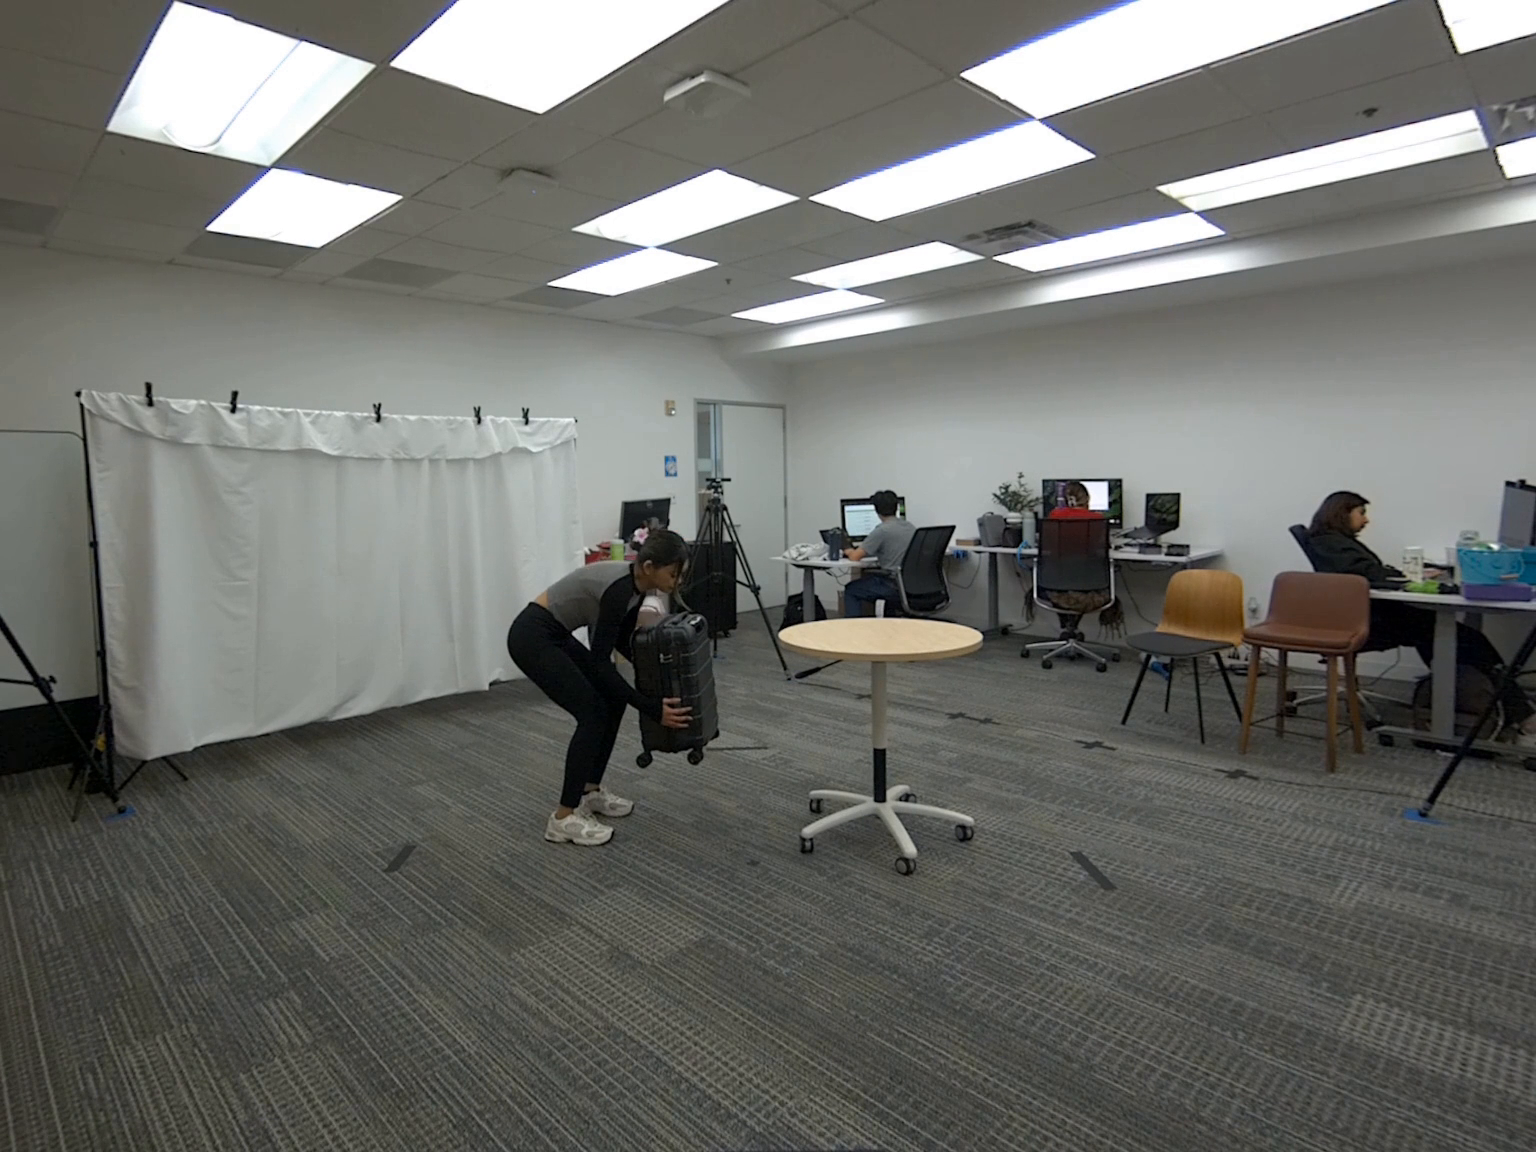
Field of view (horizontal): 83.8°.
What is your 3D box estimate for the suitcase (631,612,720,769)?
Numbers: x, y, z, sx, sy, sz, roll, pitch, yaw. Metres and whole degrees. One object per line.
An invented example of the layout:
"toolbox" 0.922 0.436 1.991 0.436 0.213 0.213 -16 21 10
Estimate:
"suitcase" -0.373 0.431 3.406 0.251 0.547 0.374 -2 5 9
